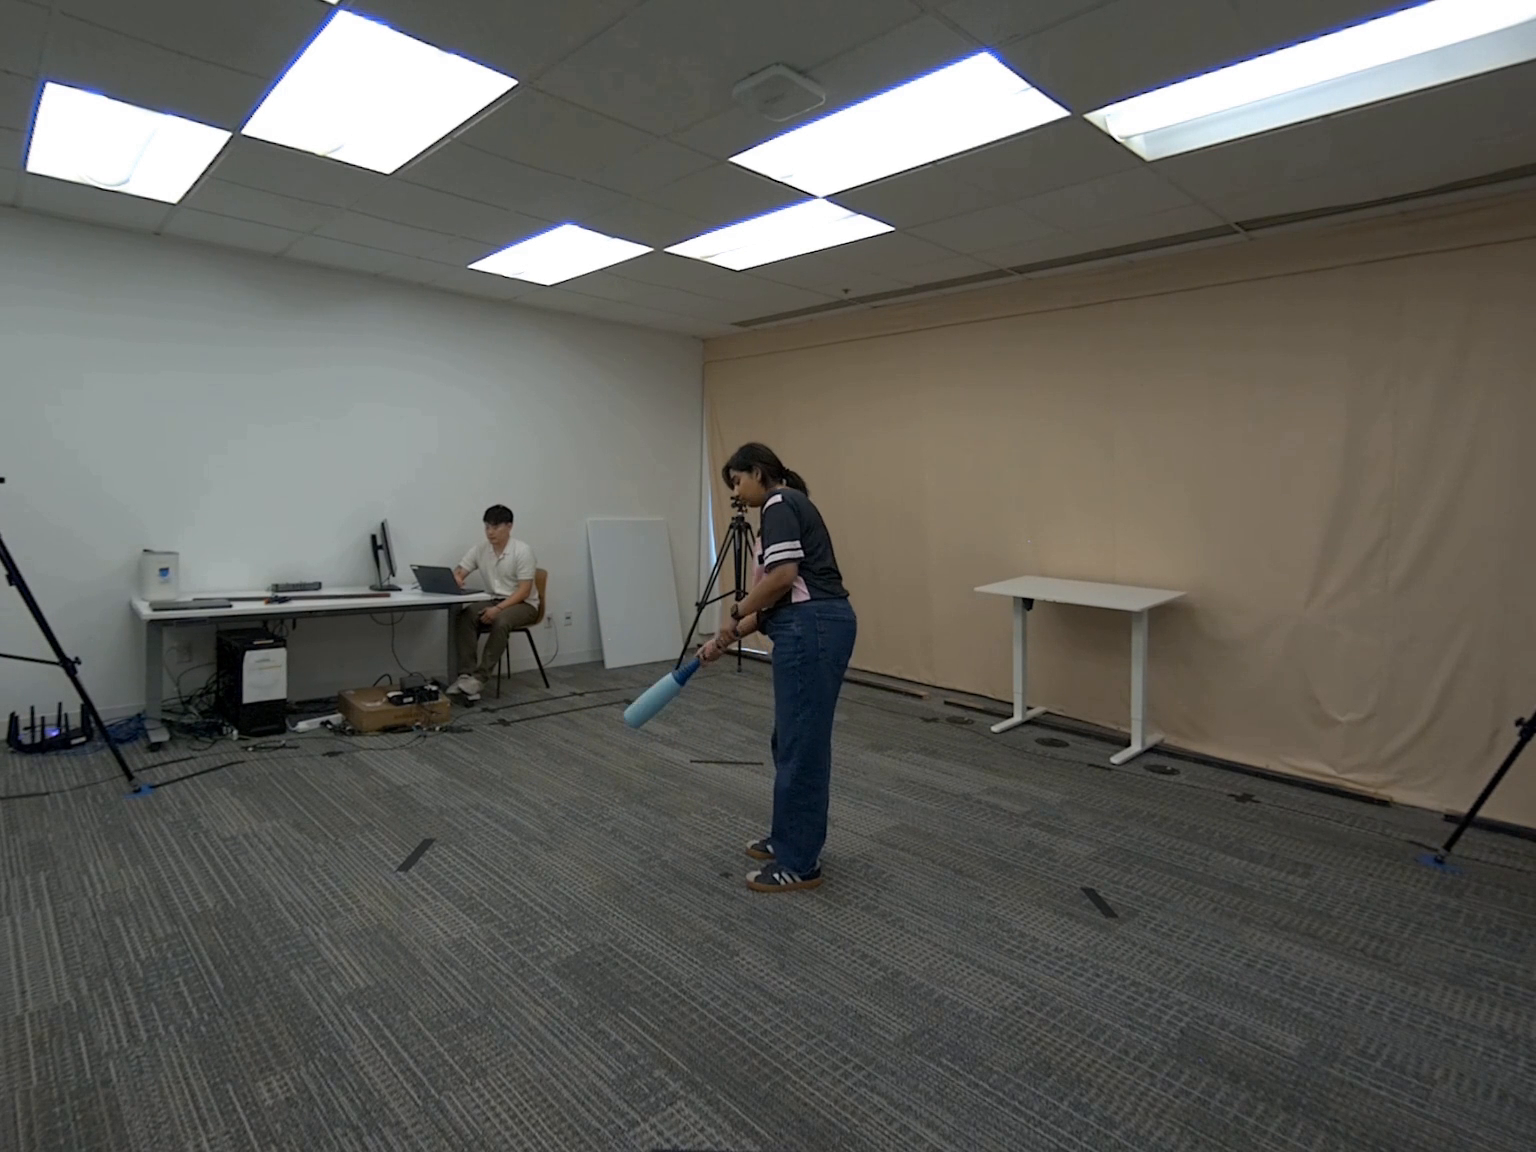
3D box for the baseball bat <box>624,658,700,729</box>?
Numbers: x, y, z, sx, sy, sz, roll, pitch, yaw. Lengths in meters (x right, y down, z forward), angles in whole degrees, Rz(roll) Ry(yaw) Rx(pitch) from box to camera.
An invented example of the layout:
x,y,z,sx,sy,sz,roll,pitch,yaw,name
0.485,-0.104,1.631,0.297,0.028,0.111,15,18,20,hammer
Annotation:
x,y,z,sx,sy,sz,roll,pitch,yaw,name
-0.310,0.359,3.145,0.544,0.089,0.088,-39,-3,10,baseball bat
